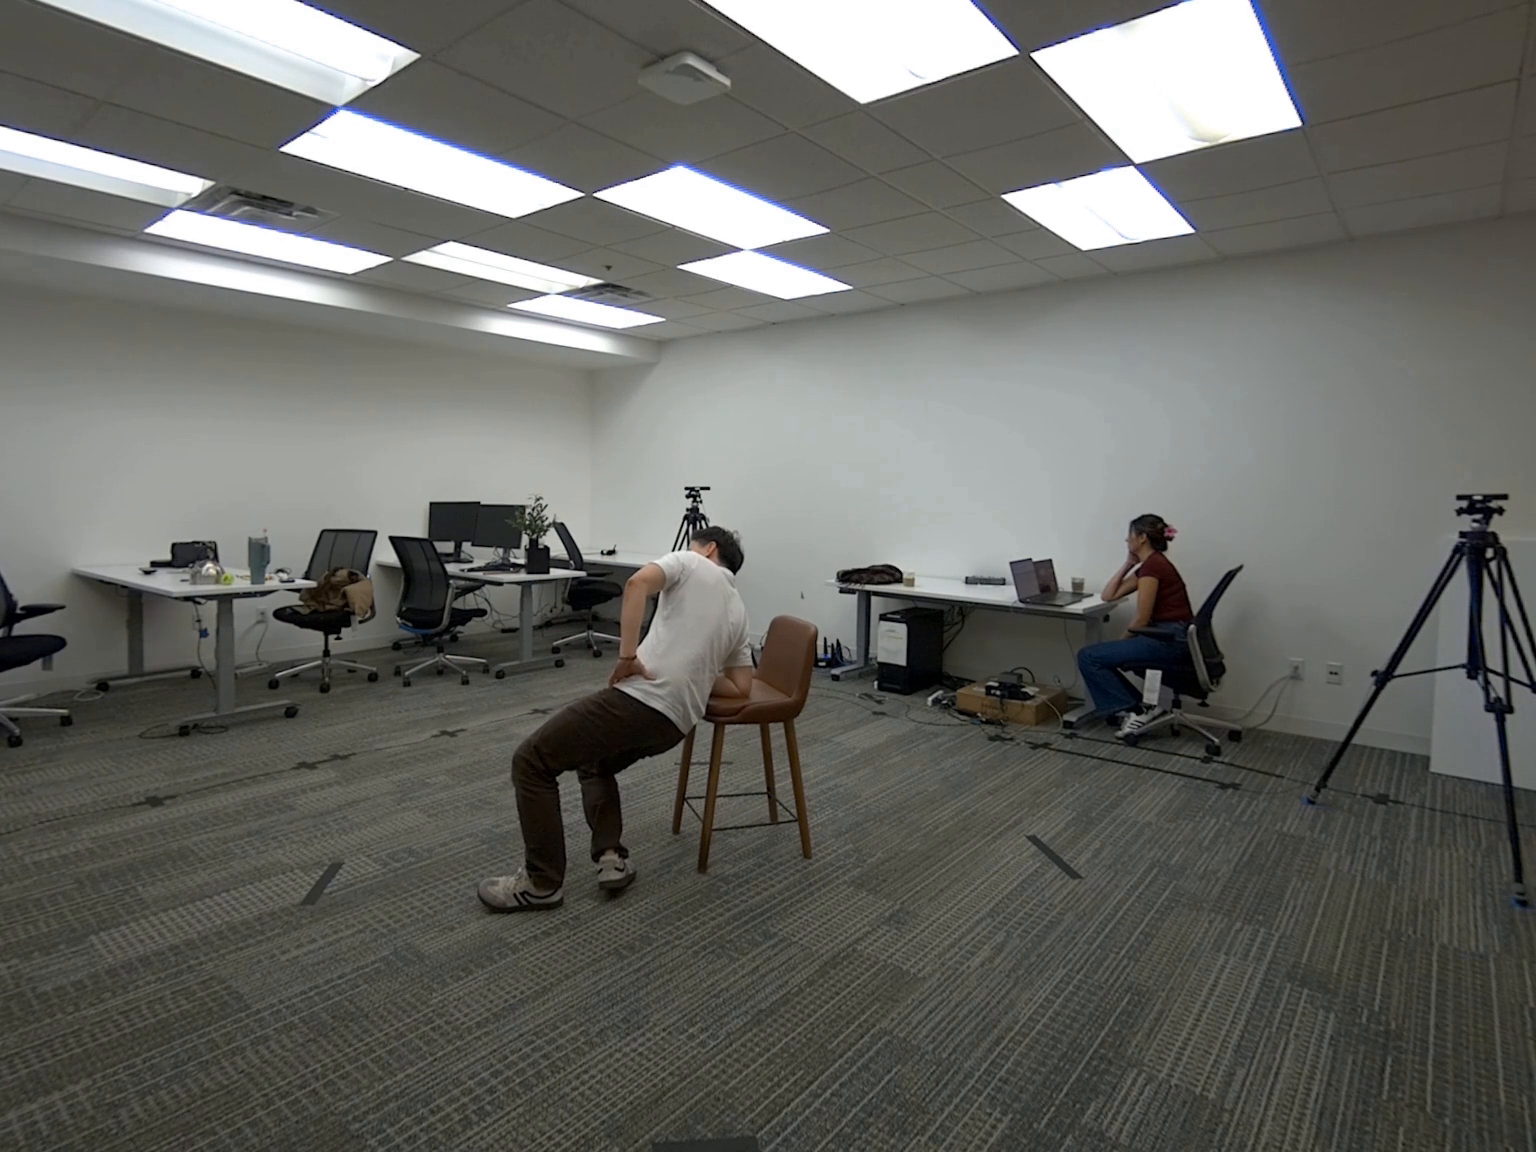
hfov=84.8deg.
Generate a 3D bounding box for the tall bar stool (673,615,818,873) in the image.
[{"bbox_3d":[-0.106,0.612,3.302,0.458,0.888,0.467,1,3,-20],"label":"tall bar stool"}]
